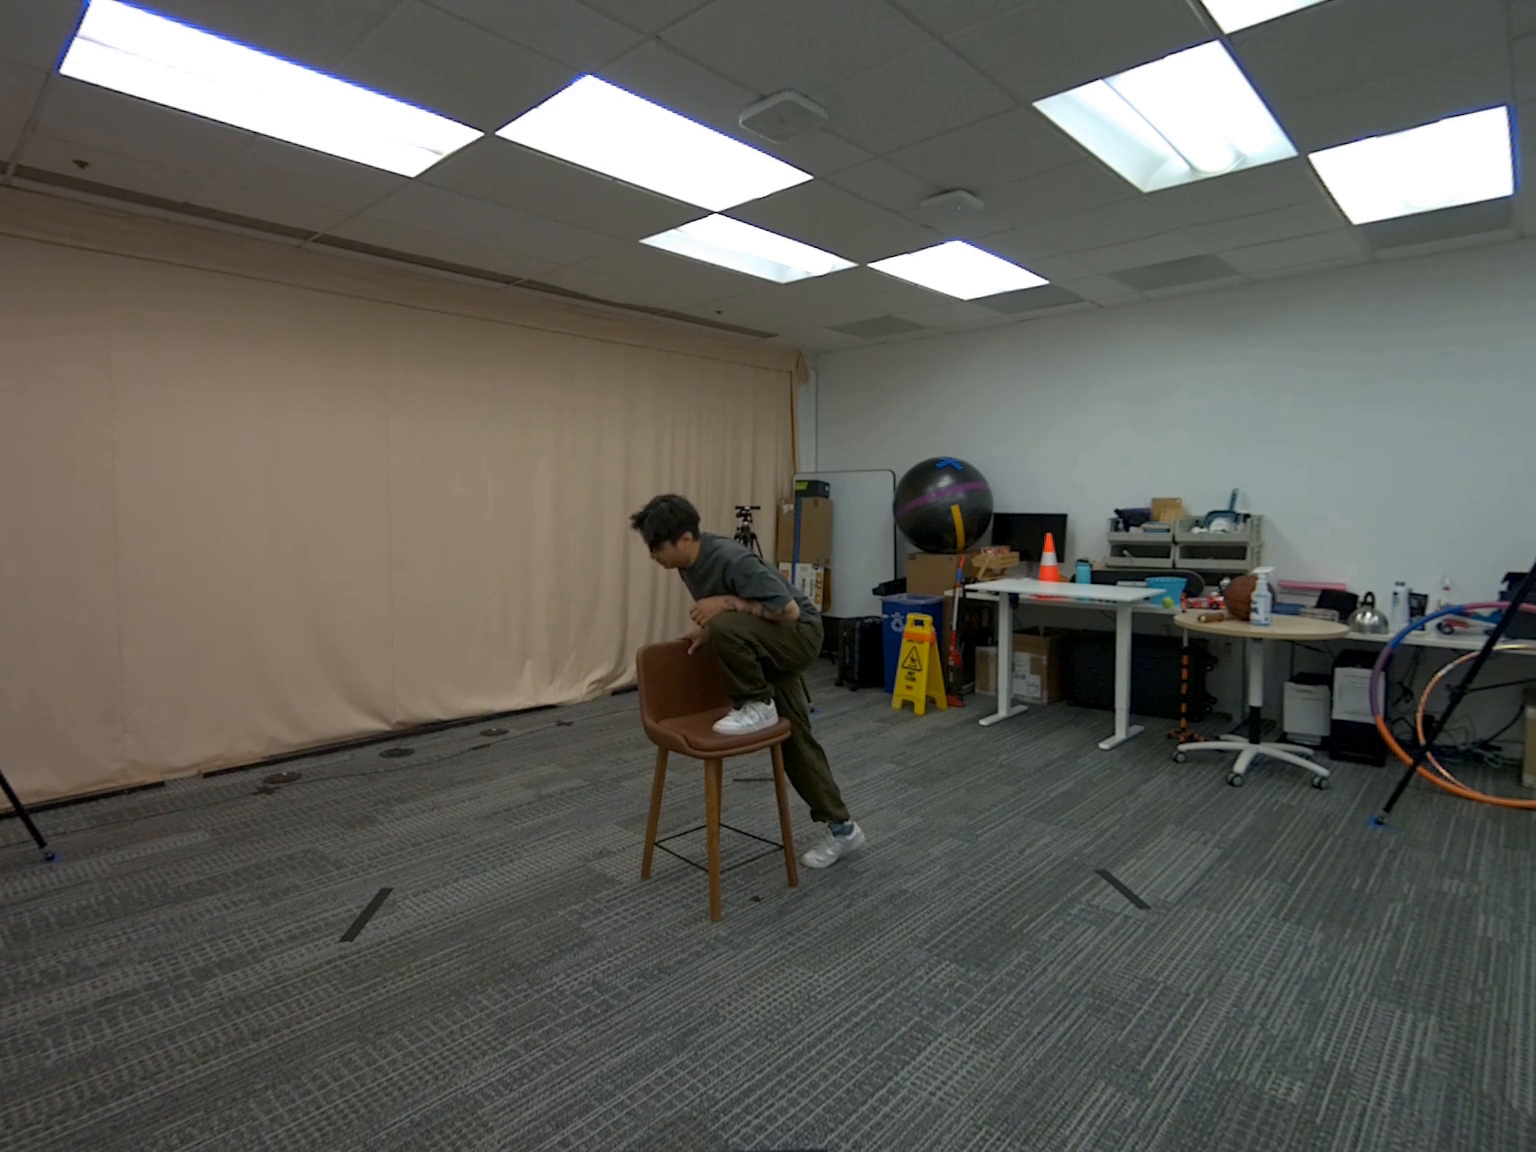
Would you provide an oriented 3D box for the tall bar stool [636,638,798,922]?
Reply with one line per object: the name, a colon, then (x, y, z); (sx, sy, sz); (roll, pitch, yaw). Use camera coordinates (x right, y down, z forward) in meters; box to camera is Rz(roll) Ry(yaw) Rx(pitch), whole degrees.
tall bar stool: (-0.200, 0.701, 3.096); (0.442, 0.889, 0.482); (-4, 2, -43)
